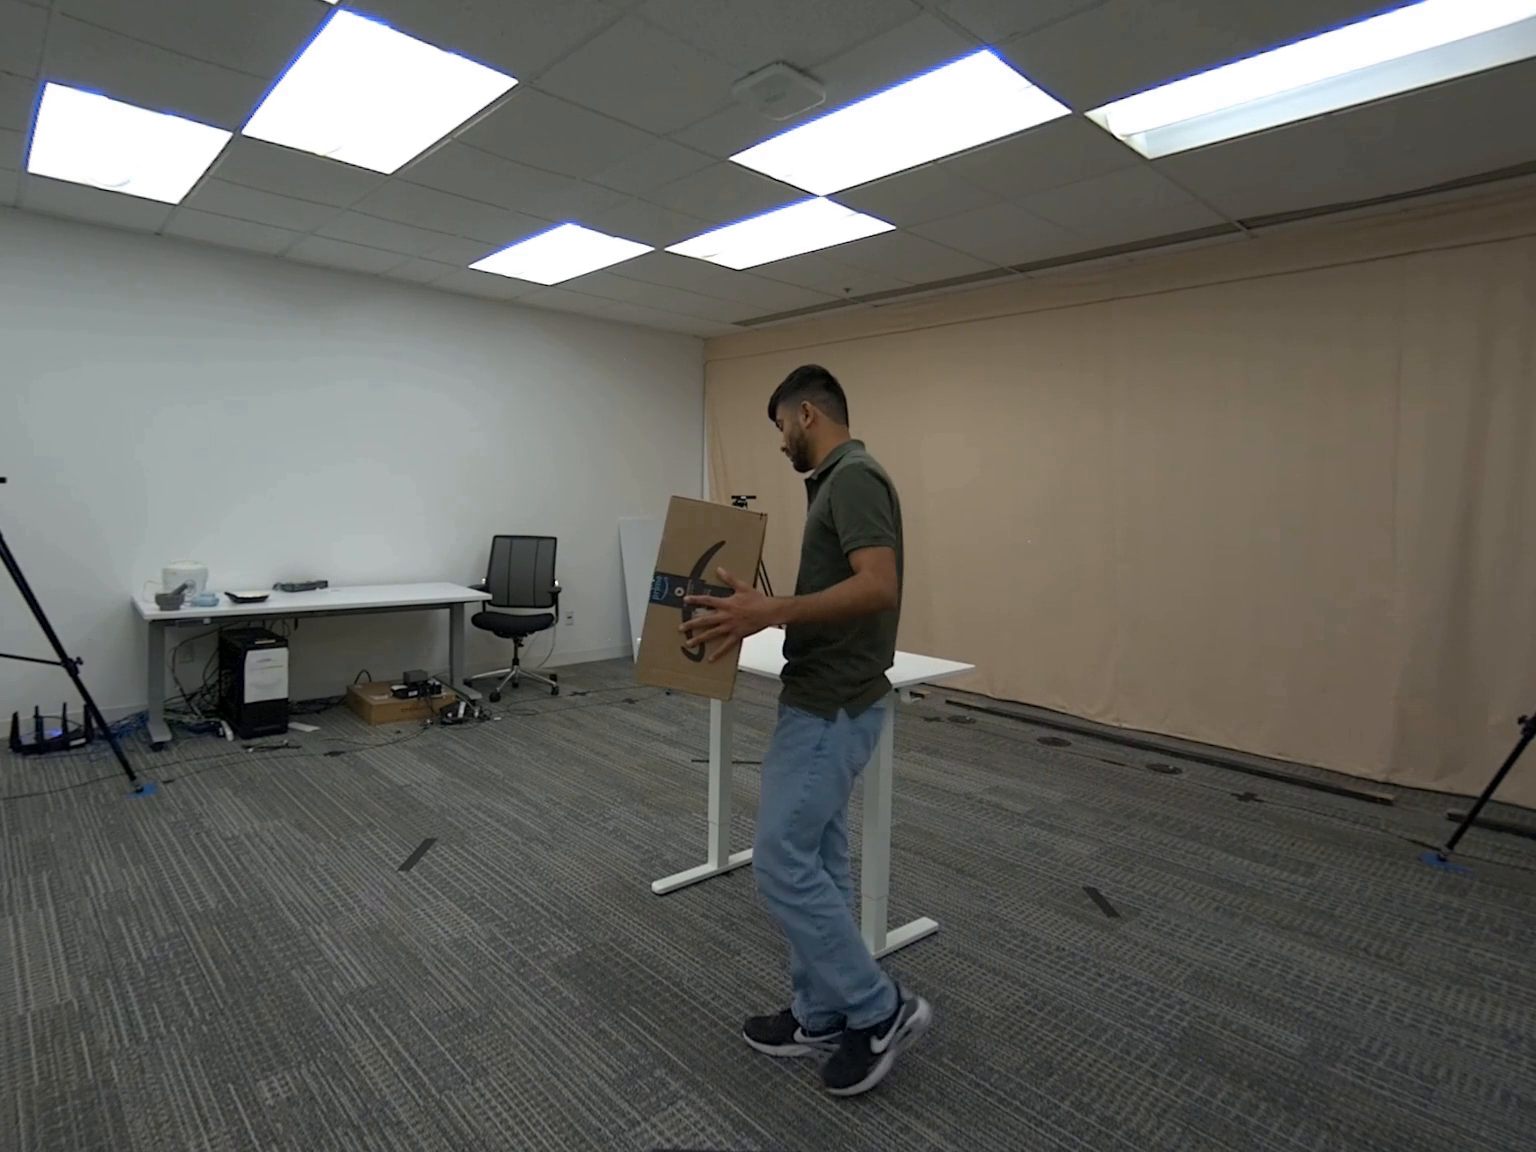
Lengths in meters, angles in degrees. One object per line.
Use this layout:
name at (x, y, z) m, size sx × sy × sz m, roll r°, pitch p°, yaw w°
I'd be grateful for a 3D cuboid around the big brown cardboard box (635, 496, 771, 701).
big brown cardboard box at (-0.158, 0.048, 2.089) m, size 0.232 × 0.418 × 0.590 m, roll 11°, pitch 0°, yaw -4°
